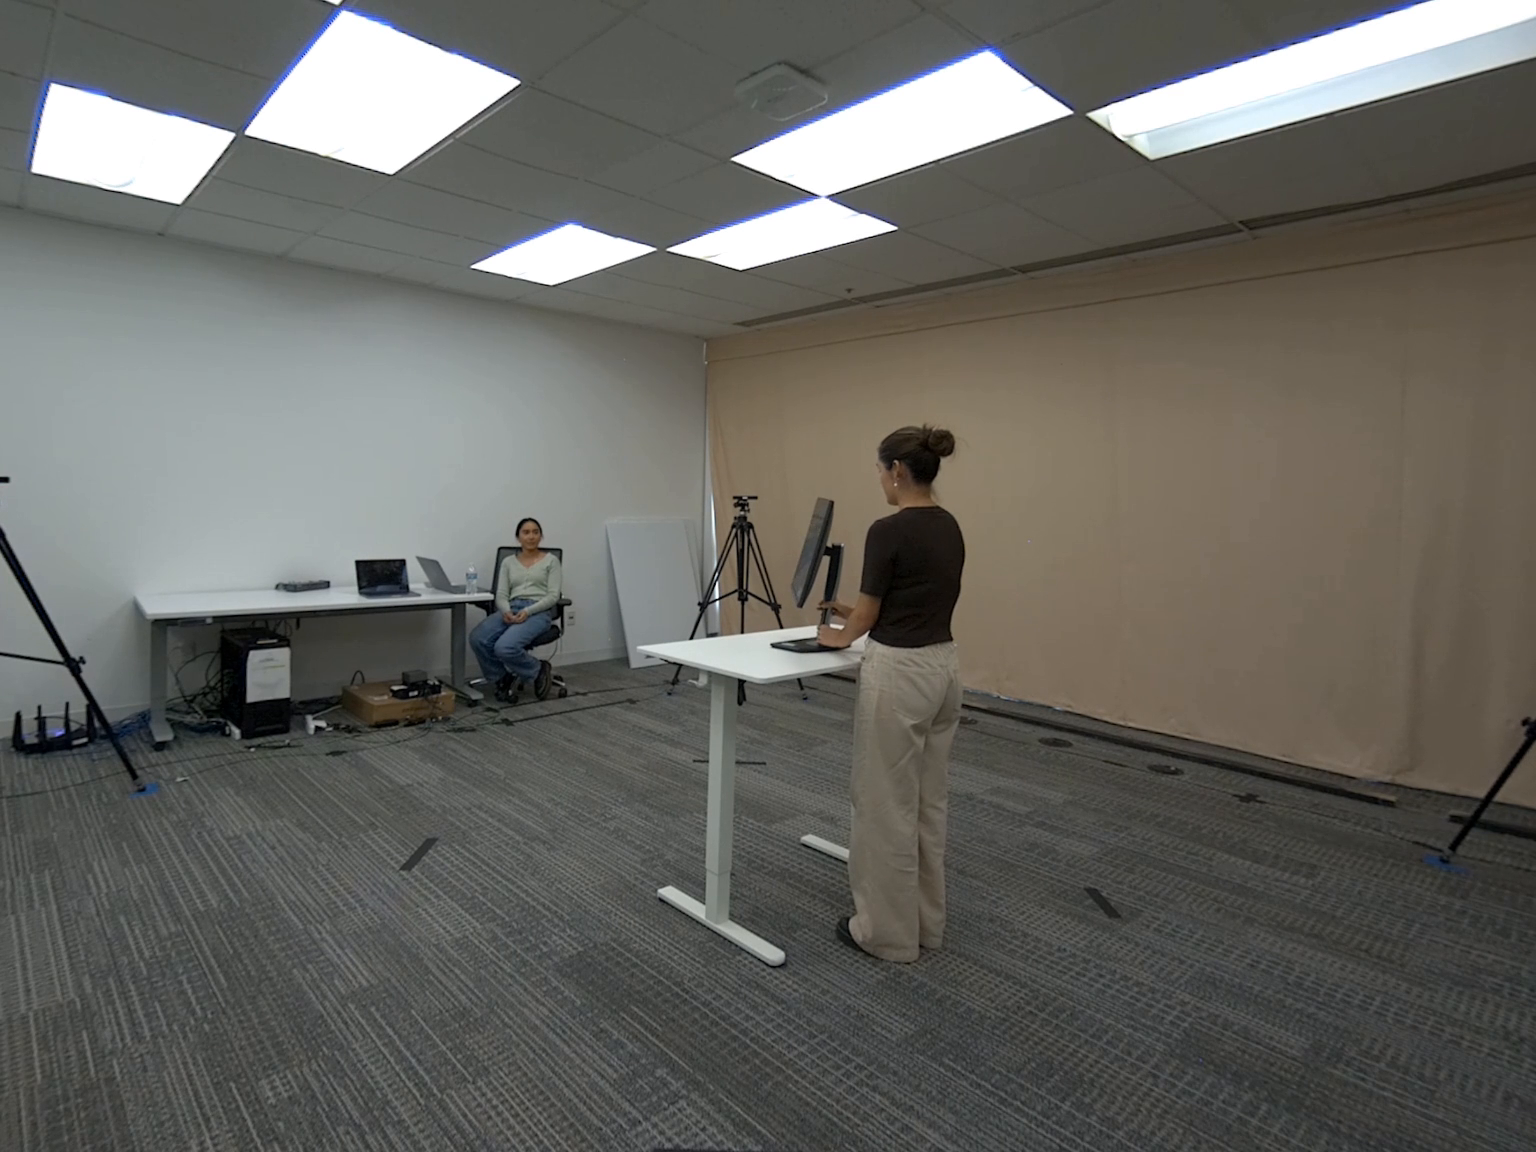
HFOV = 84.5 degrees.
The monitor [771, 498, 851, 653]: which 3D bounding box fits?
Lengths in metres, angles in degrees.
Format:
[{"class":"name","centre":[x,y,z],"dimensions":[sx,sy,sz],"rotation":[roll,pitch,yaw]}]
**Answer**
[{"class":"monitor","centre":[0.157,-0.004,2.888],"dimensions":[0.187,0.521,0.542],"rotation":[5,5,-3]}]
